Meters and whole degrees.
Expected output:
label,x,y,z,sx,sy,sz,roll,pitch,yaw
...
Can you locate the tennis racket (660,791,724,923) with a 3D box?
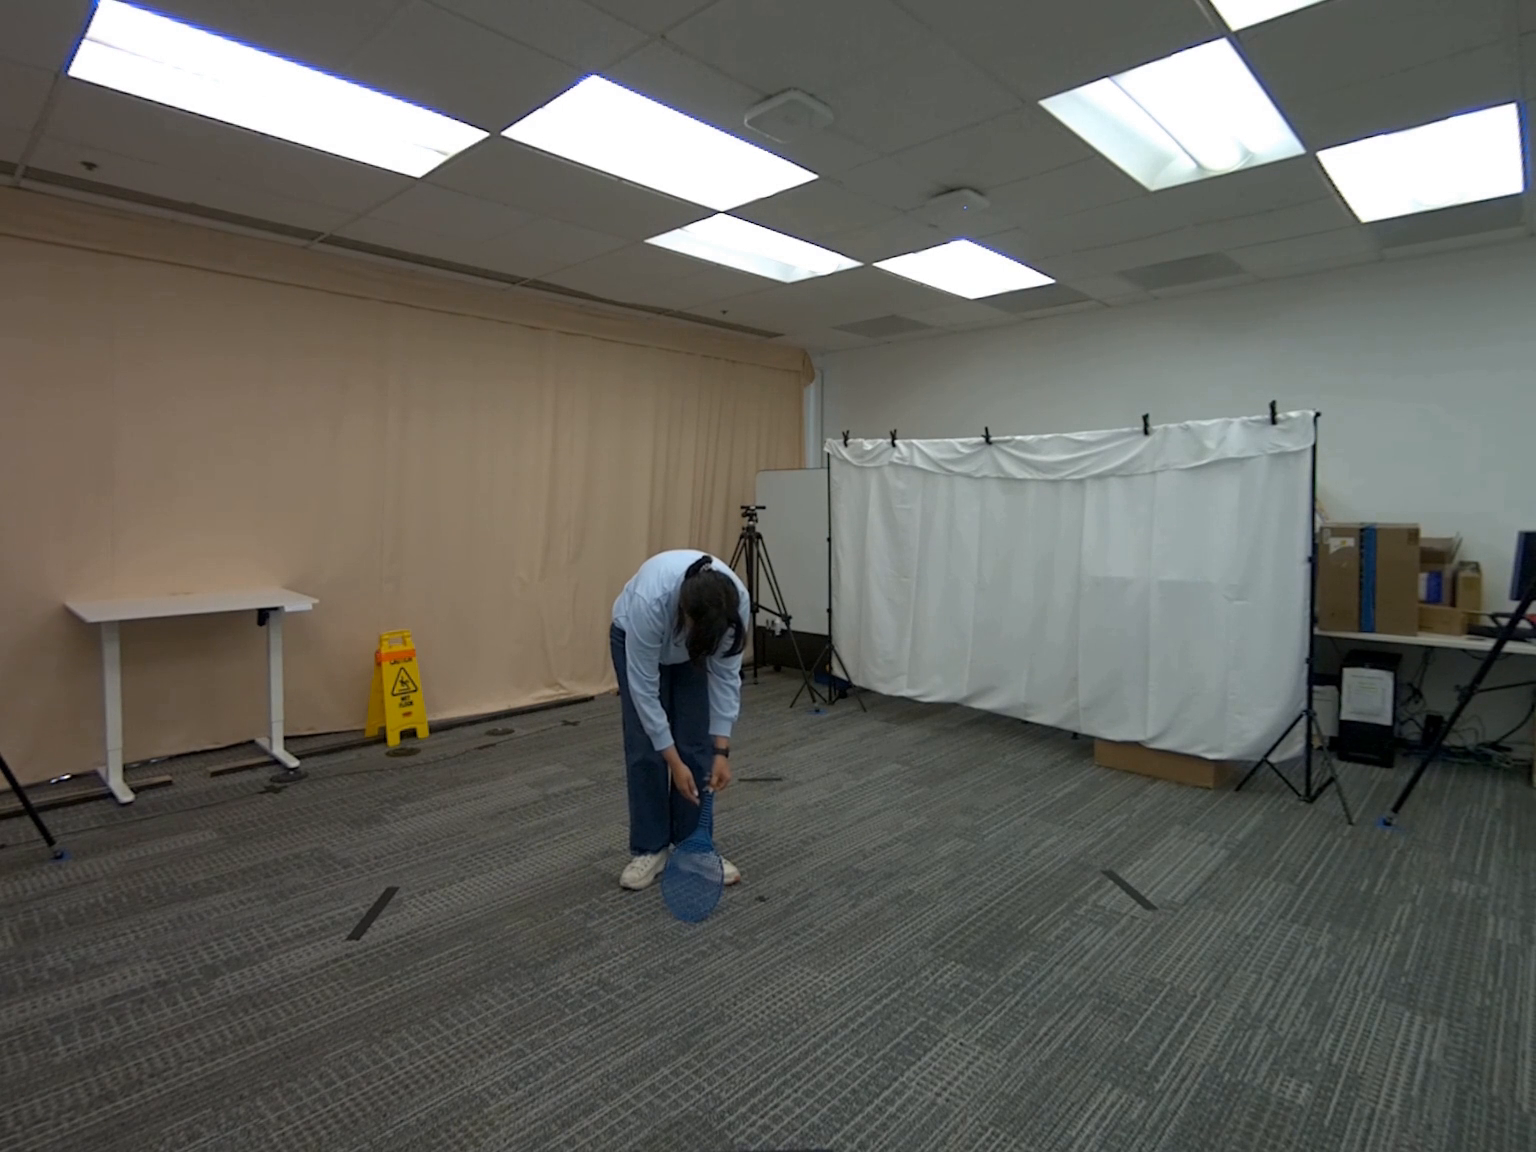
label,x,y,z,sx,sy,sz,roll,pitch,yaw
tennis racket,-0.236,0.951,2.889,0.217,0.435,0.031,7,-14,15
